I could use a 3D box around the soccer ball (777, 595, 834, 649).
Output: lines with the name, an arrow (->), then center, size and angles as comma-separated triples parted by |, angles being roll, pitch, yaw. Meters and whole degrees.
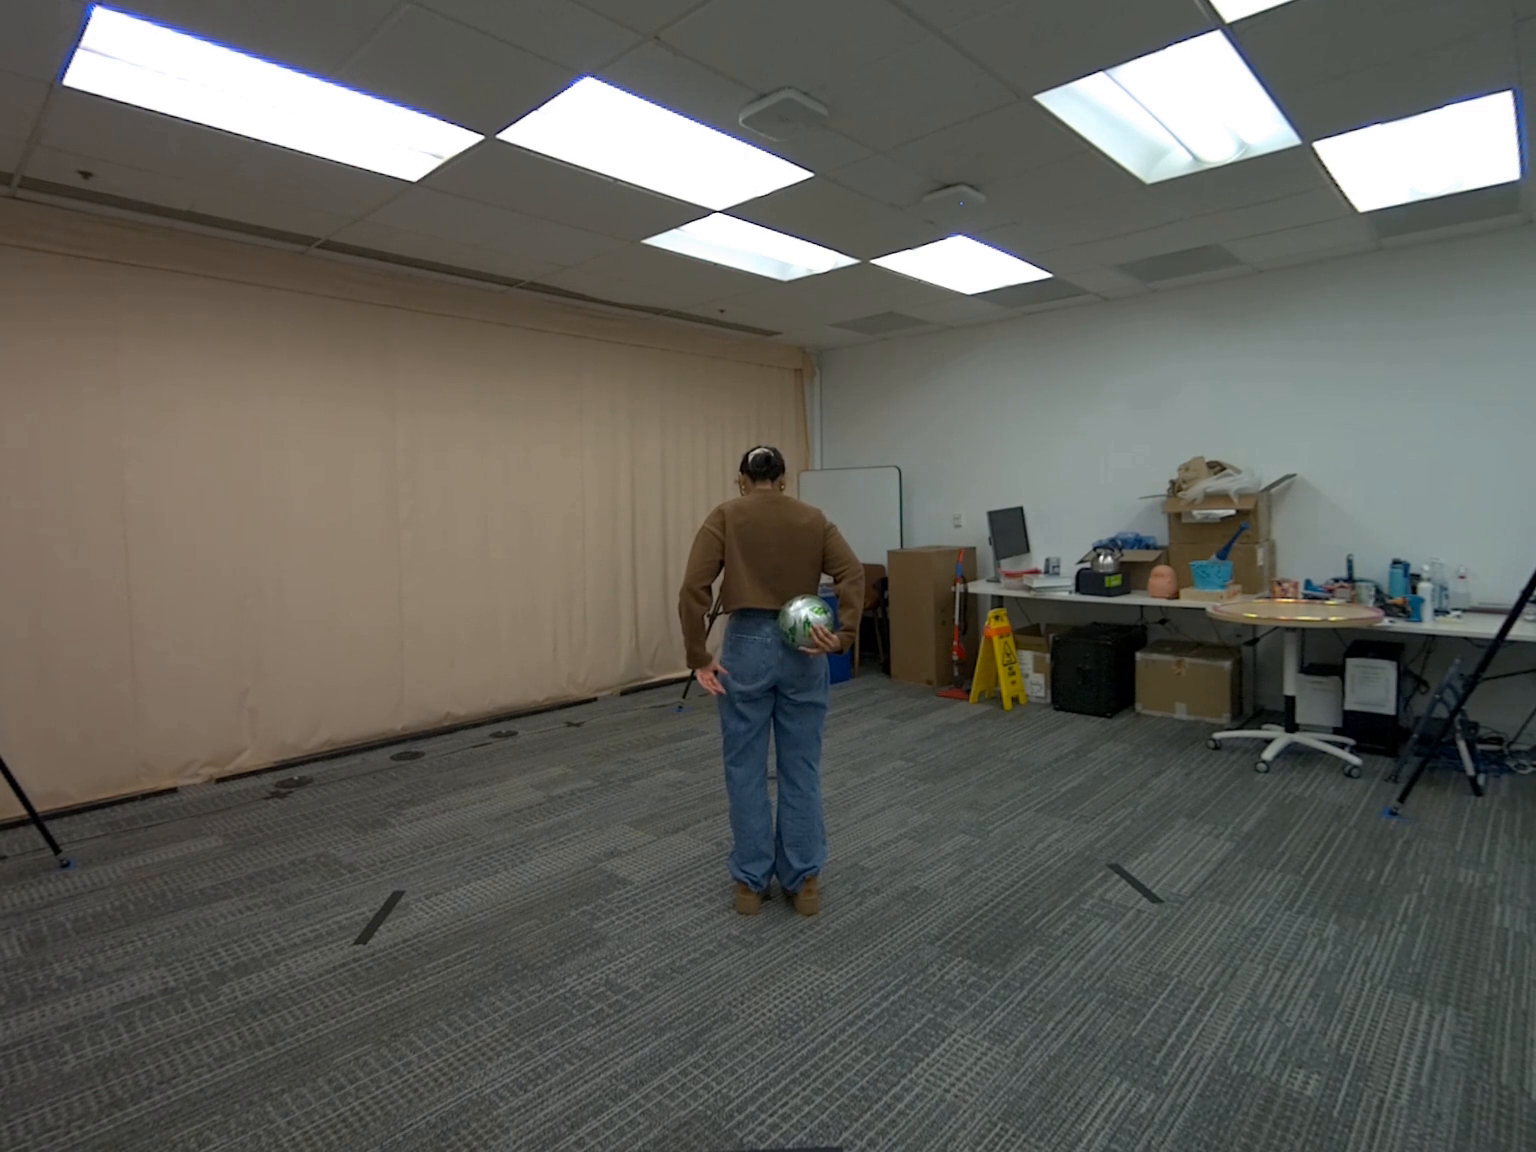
soccer ball -> 0.130, 0.158, 2.780 | 0.187, 0.187, 0.188 | -1, 4, -2
